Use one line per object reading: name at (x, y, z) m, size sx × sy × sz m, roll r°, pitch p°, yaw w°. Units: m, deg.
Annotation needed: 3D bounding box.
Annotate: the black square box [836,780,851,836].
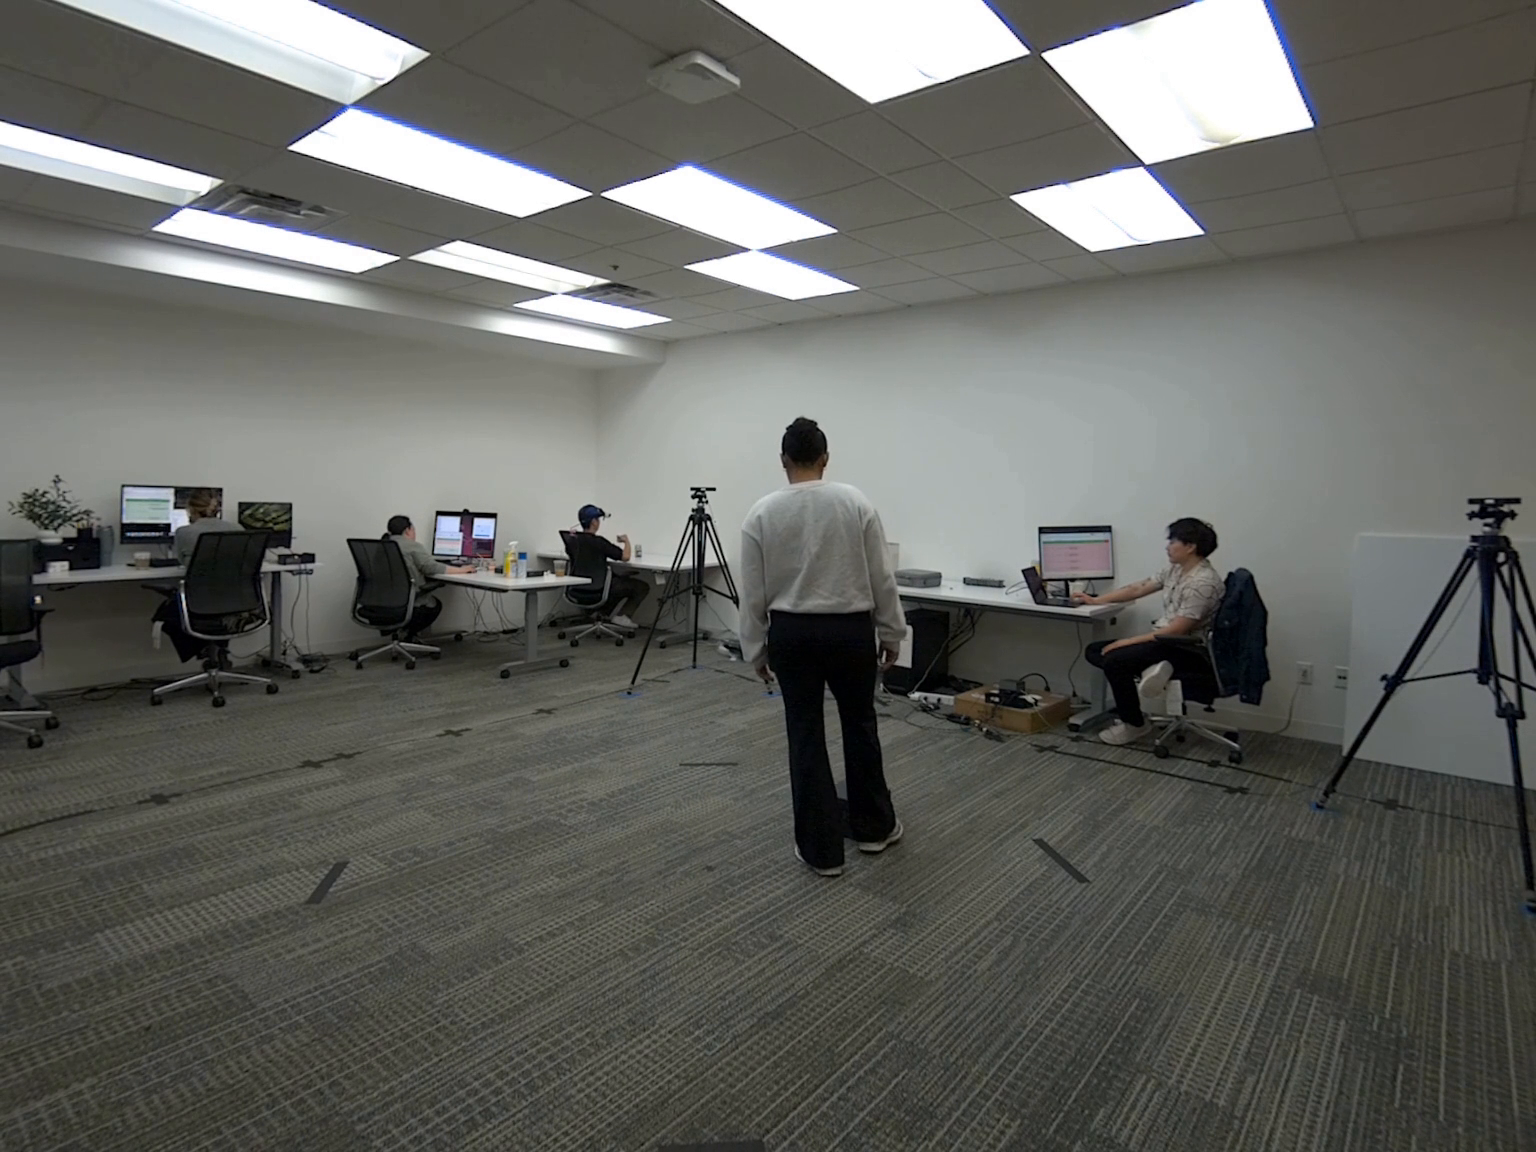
black square box at (0.341, 0.949, 3.504) m, size 0.224 × 0.155 × 0.221 m, roll 5°, pitch 5°, yaw 34°
